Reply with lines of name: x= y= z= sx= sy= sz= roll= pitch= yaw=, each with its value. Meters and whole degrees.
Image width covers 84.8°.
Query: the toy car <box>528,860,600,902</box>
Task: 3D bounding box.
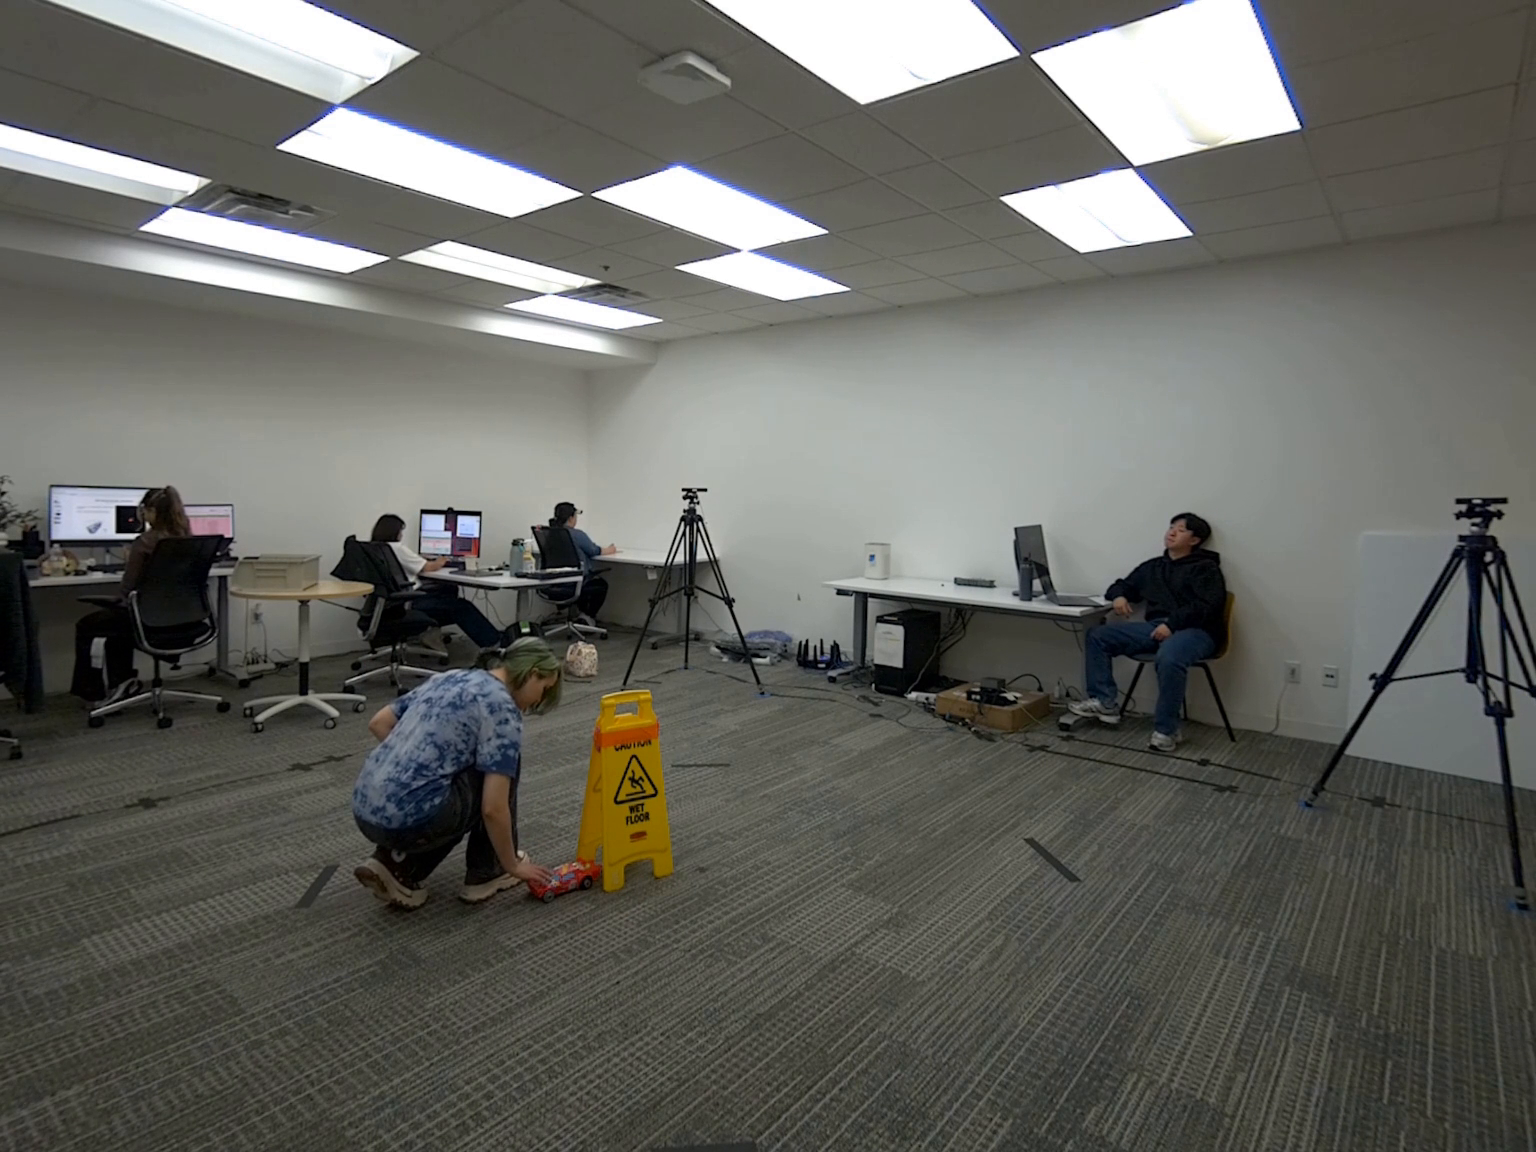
toy car: x=-0.716 y=1.063 z=2.944 sx=0.249 sy=0.082 sz=0.135 roll=-18 pitch=16 yaw=-34
